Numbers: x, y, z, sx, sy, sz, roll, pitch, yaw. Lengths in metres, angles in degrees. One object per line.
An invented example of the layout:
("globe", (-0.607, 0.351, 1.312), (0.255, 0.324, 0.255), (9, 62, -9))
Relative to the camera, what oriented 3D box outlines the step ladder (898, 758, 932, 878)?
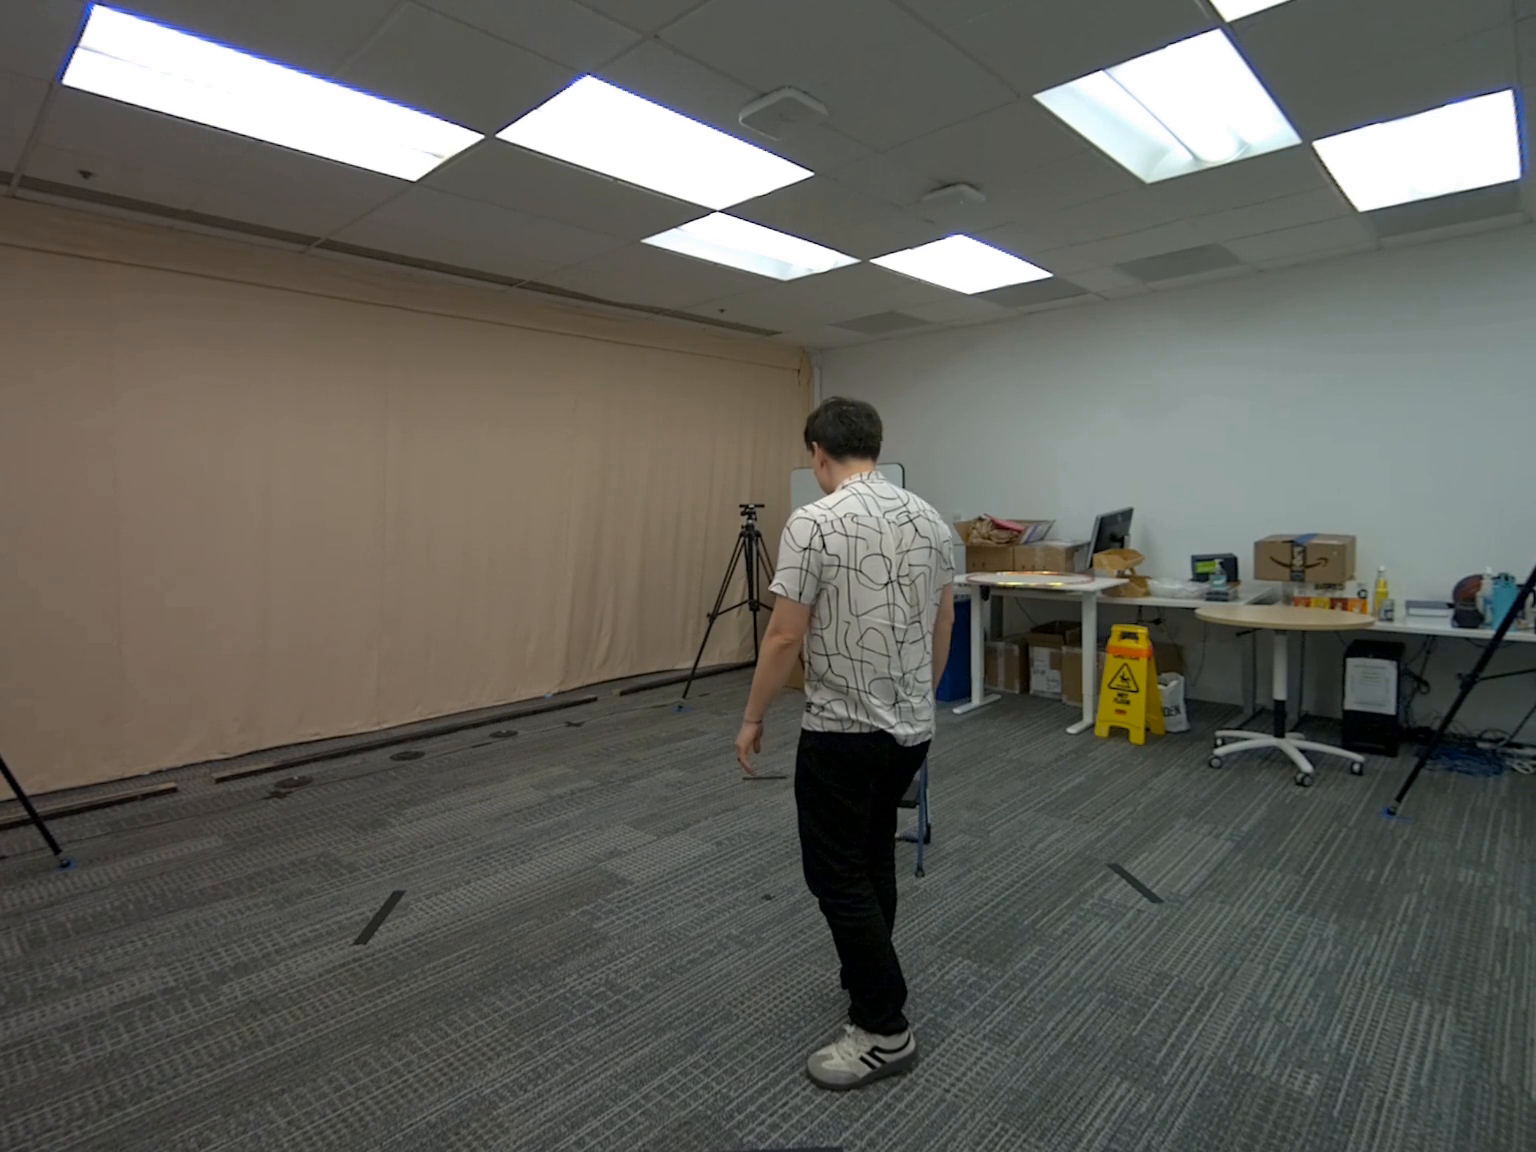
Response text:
("step ladder", (0.425, 0.795, 3.340), (0.439, 0.605, 0.343), (1, 4, 18))
